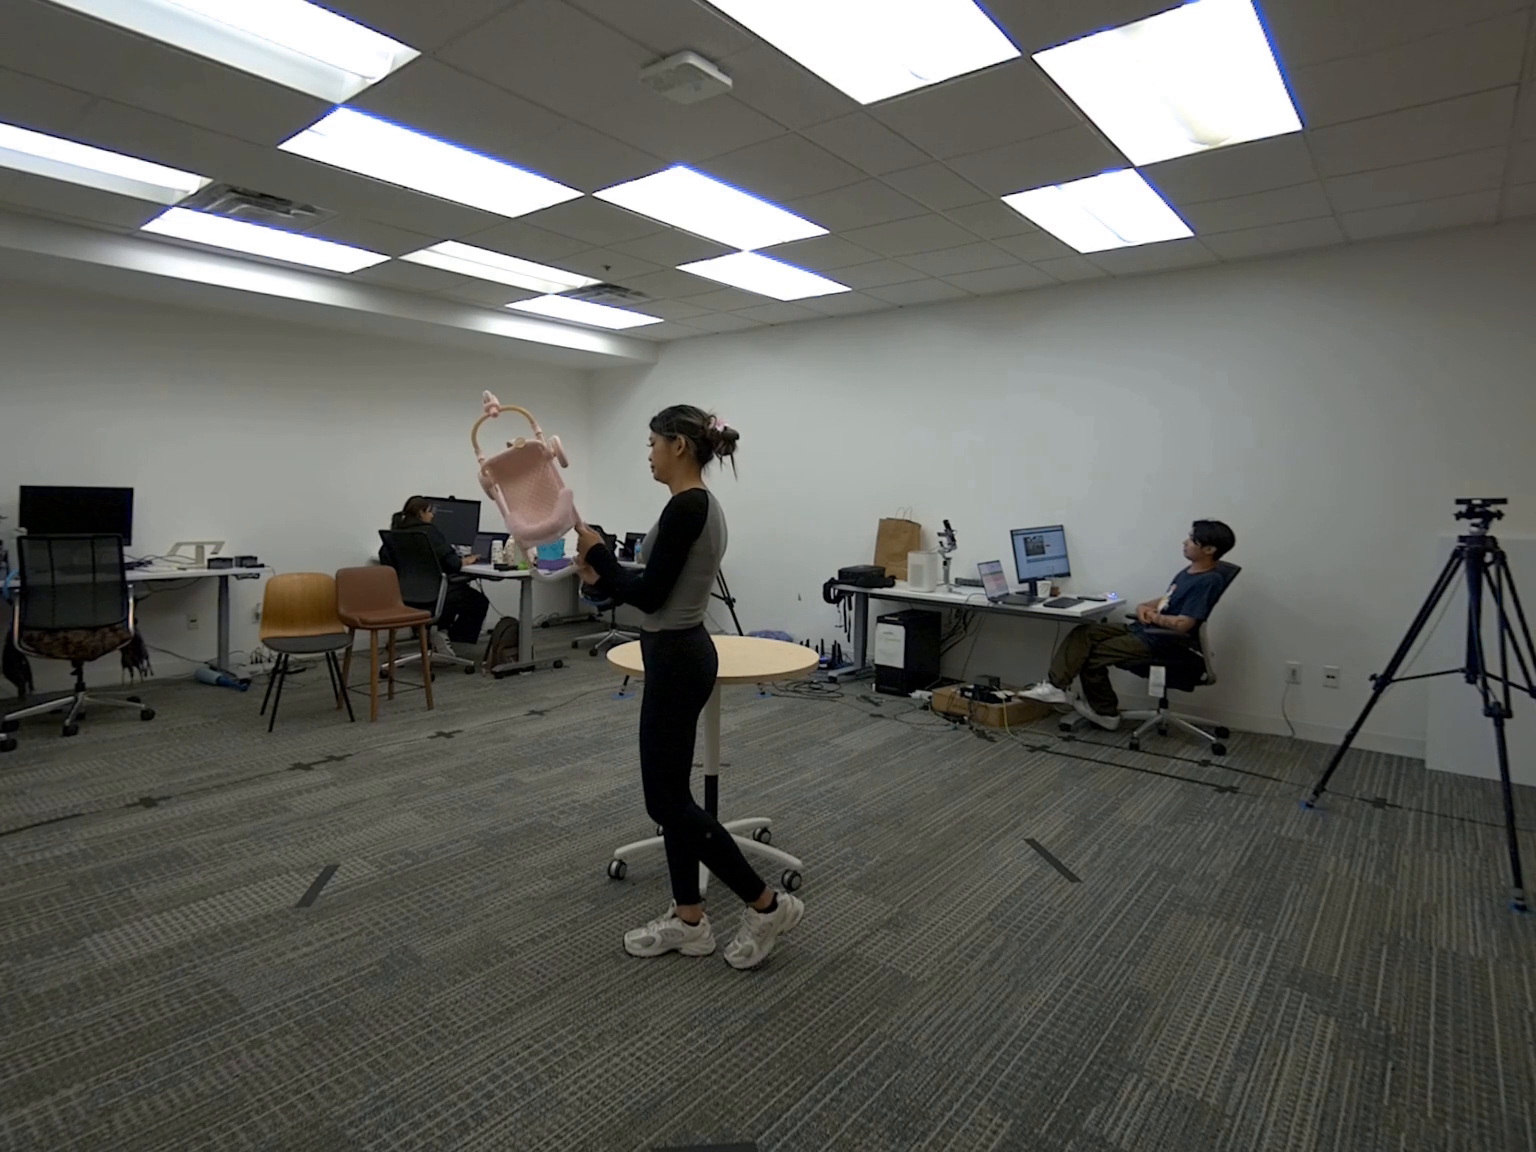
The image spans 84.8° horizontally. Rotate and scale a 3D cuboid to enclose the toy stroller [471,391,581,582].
[{"bbox_3d":[-0.728,-0.283,2.549,0.279,0.554,0.332,-23,-30,-12],"label":"toy stroller"}]
